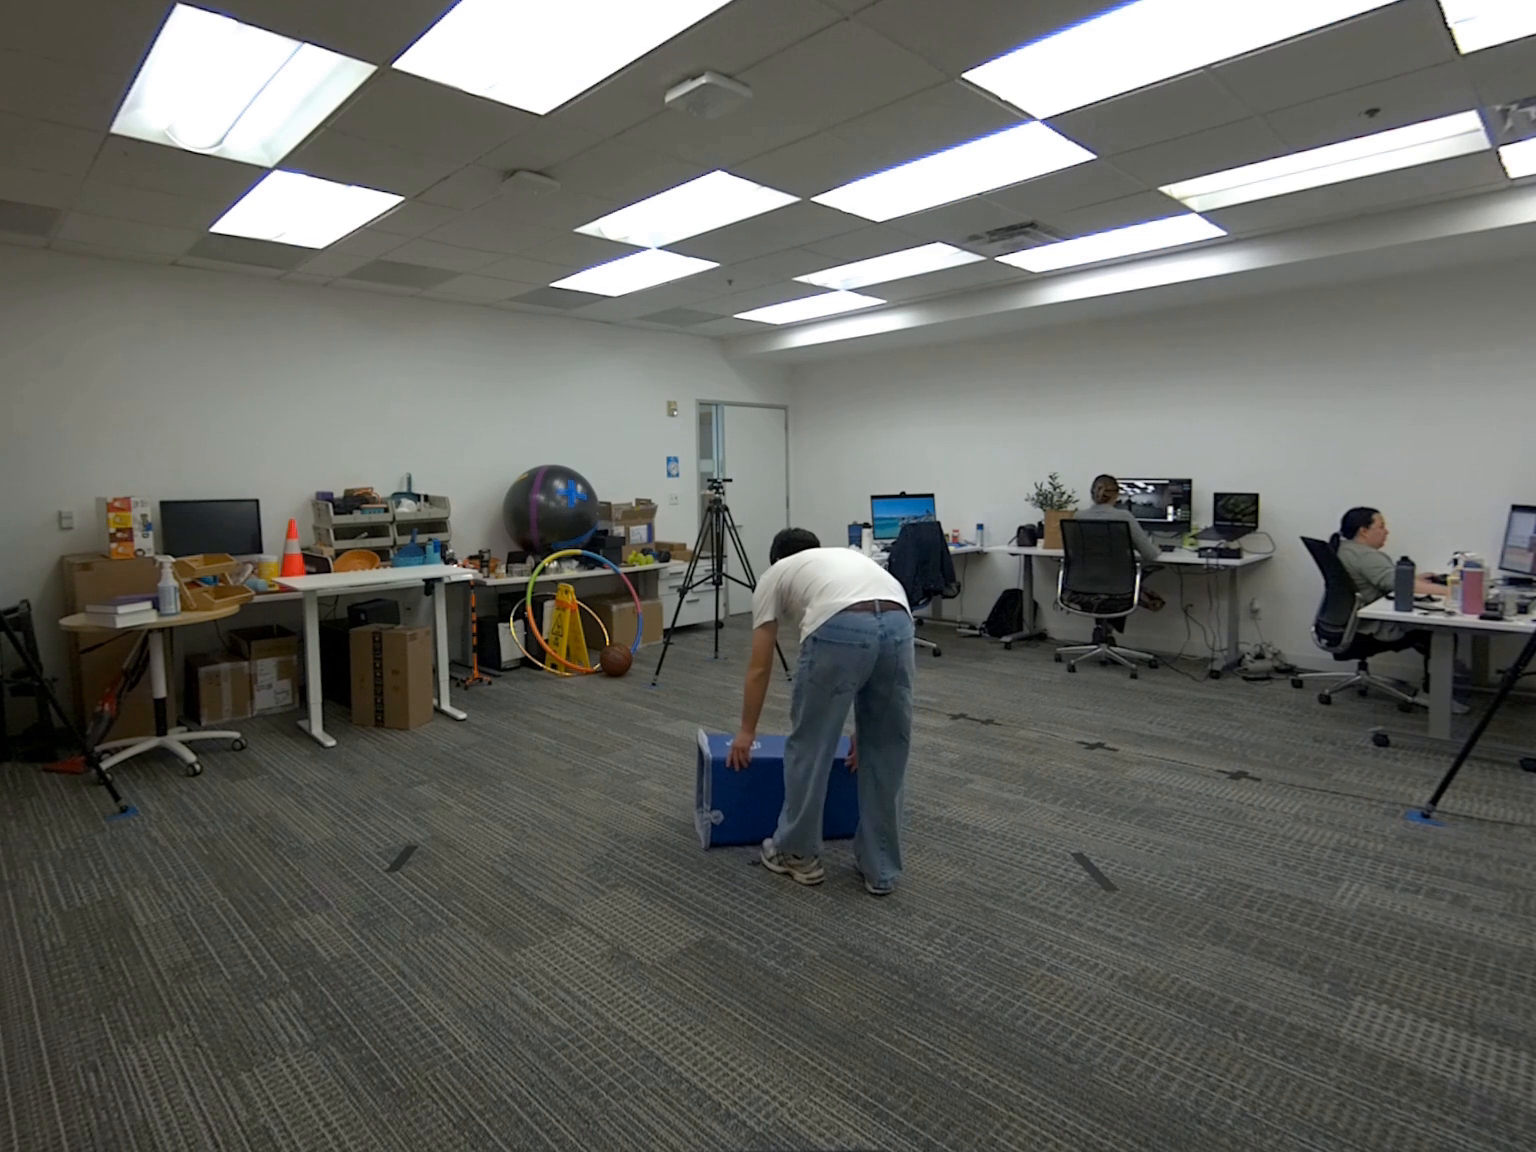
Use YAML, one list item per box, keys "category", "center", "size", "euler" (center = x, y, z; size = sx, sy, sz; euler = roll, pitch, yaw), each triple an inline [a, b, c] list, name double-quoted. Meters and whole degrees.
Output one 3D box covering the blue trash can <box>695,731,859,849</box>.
- category: "blue trash can"
  center: [0.079, 0.837, 3.421]
  size: [0.708, 0.377, 0.378]
  euler: [1, 3, -8]
